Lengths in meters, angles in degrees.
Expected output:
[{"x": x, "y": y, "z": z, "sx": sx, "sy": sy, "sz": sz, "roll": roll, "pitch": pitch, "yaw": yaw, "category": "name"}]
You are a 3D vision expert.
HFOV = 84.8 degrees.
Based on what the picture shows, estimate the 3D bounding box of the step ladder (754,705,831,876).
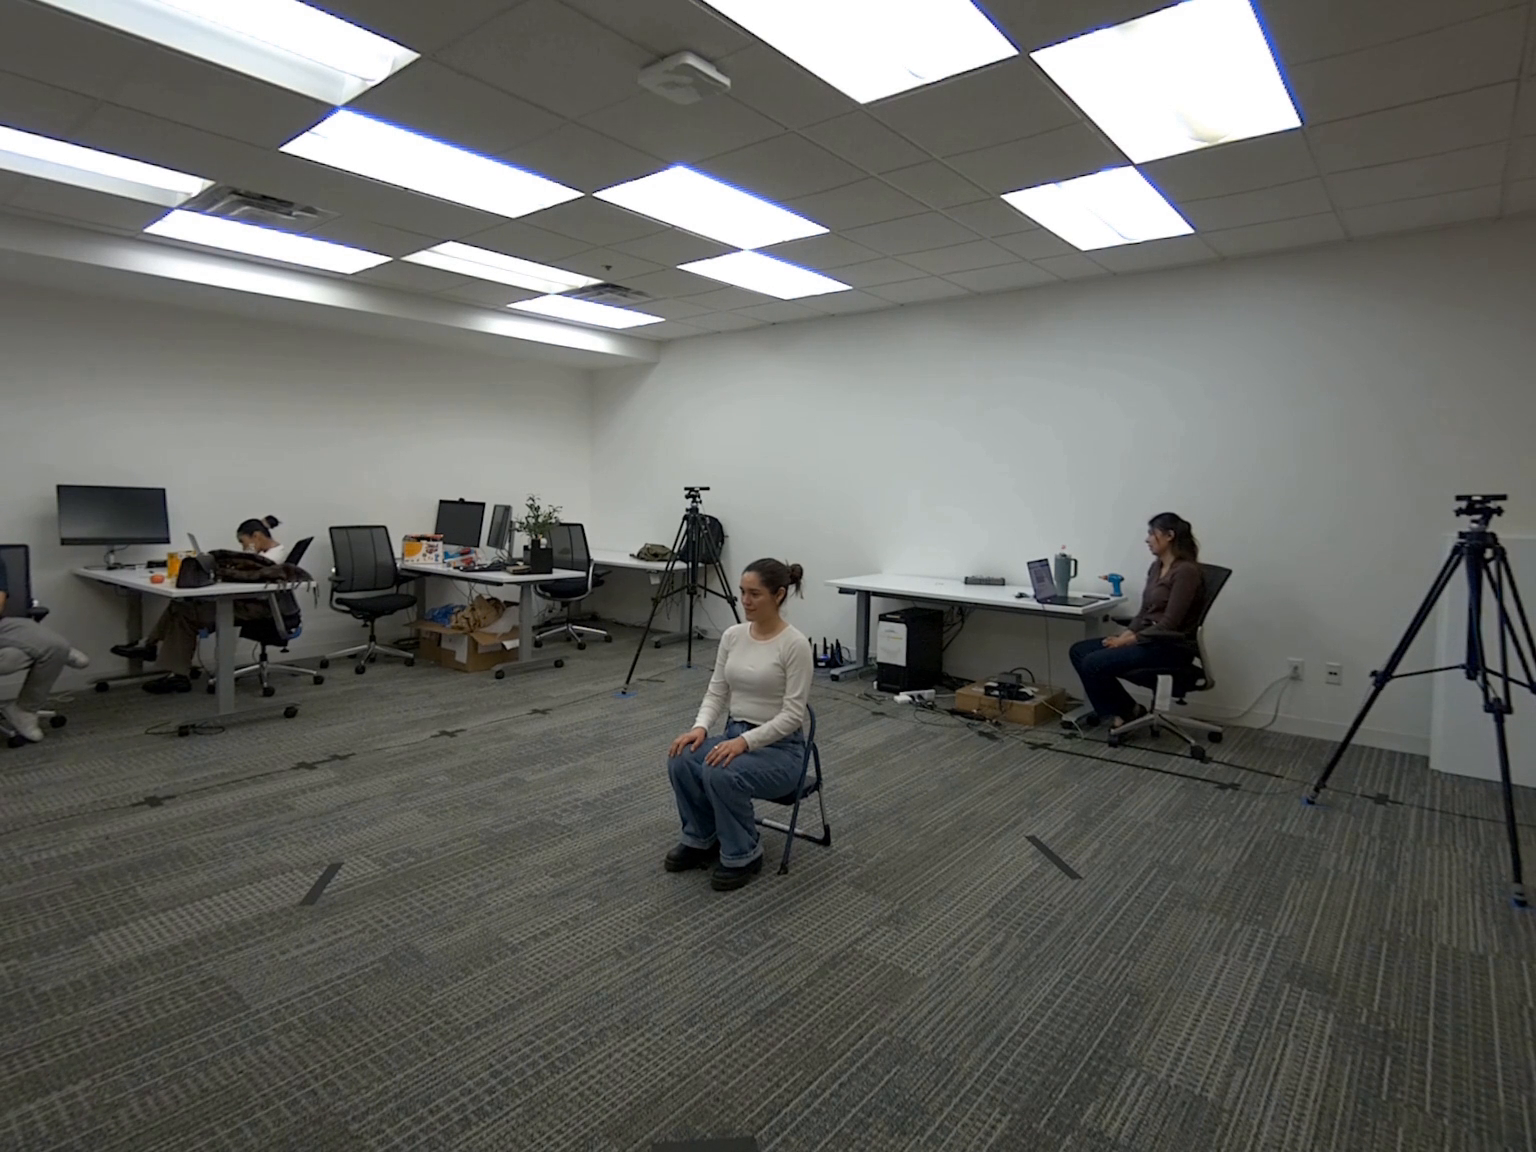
[{"x": -0.014, "y": 0.742, "z": 3.317, "sx": 0.445, "sy": 0.604, "sz": 0.339, "roll": 4, "pitch": 4, "yaw": 37, "category": "step ladder"}]
